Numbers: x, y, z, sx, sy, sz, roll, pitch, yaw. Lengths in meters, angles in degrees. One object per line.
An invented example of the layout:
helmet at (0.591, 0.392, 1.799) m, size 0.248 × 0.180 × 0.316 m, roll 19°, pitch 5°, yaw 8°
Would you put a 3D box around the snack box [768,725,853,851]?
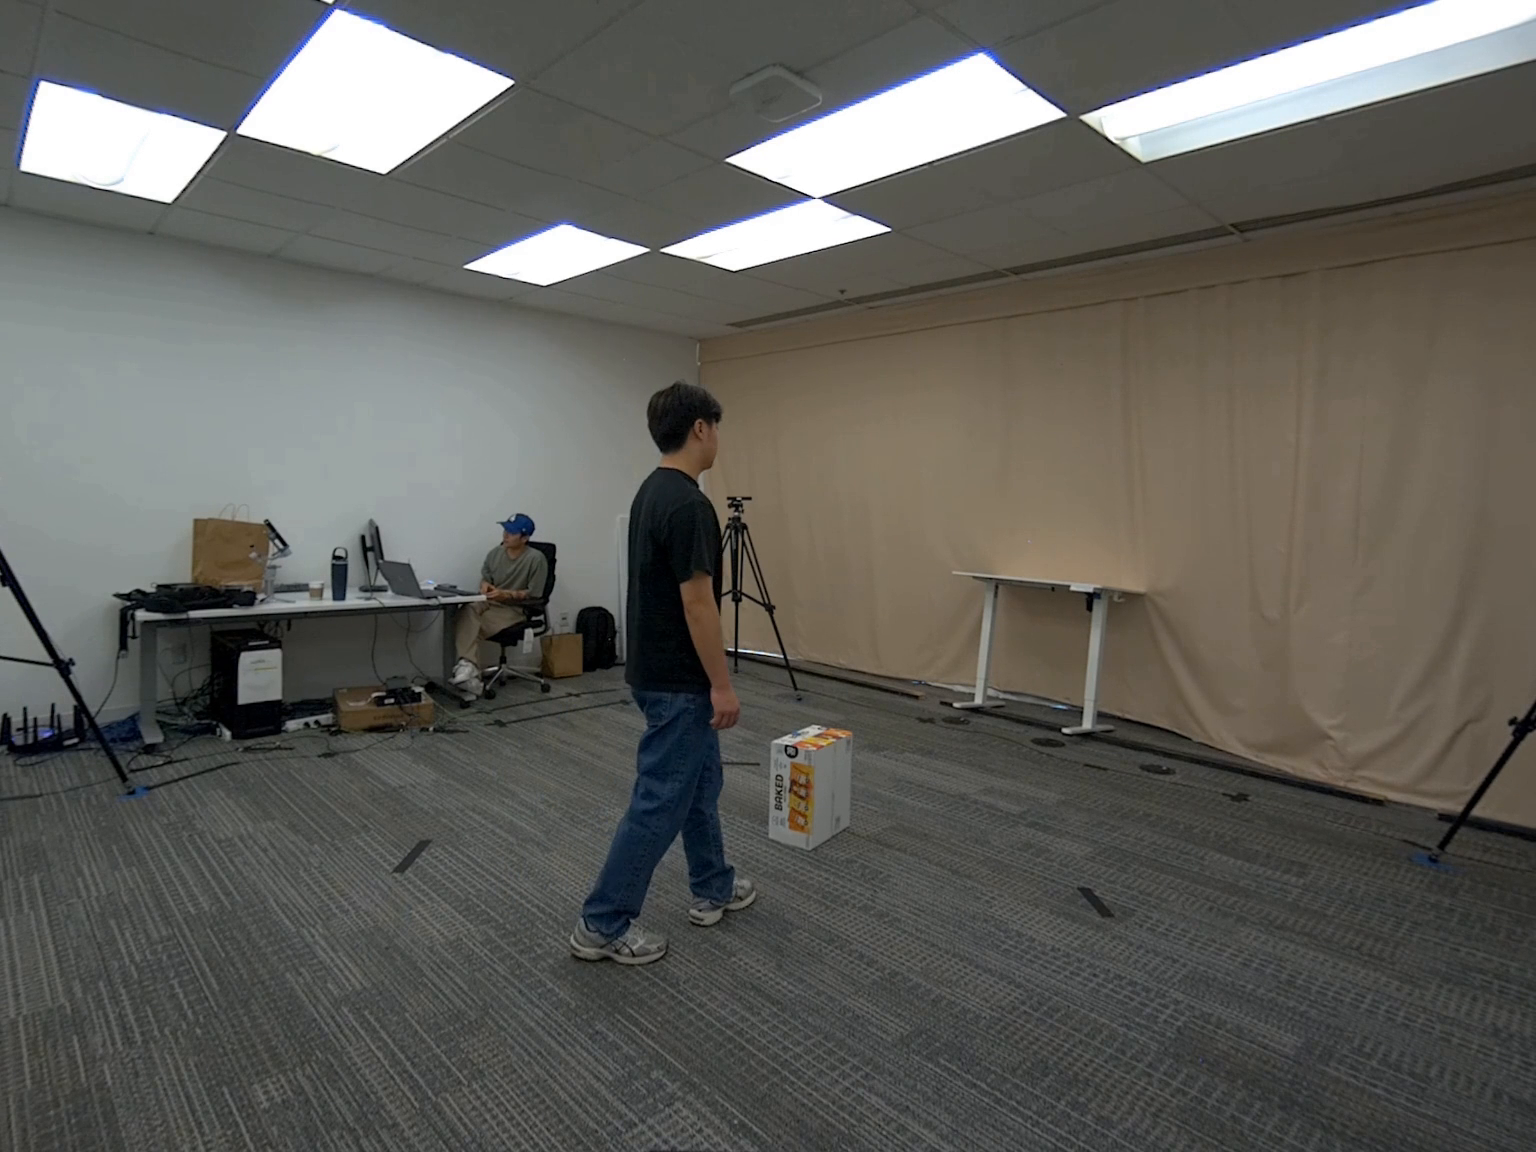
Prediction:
snack box at (0.179, 0.875, 3.529) m, size 0.210 × 0.404 × 0.333 m, roll 3°, pitch 4°, yaw 34°
